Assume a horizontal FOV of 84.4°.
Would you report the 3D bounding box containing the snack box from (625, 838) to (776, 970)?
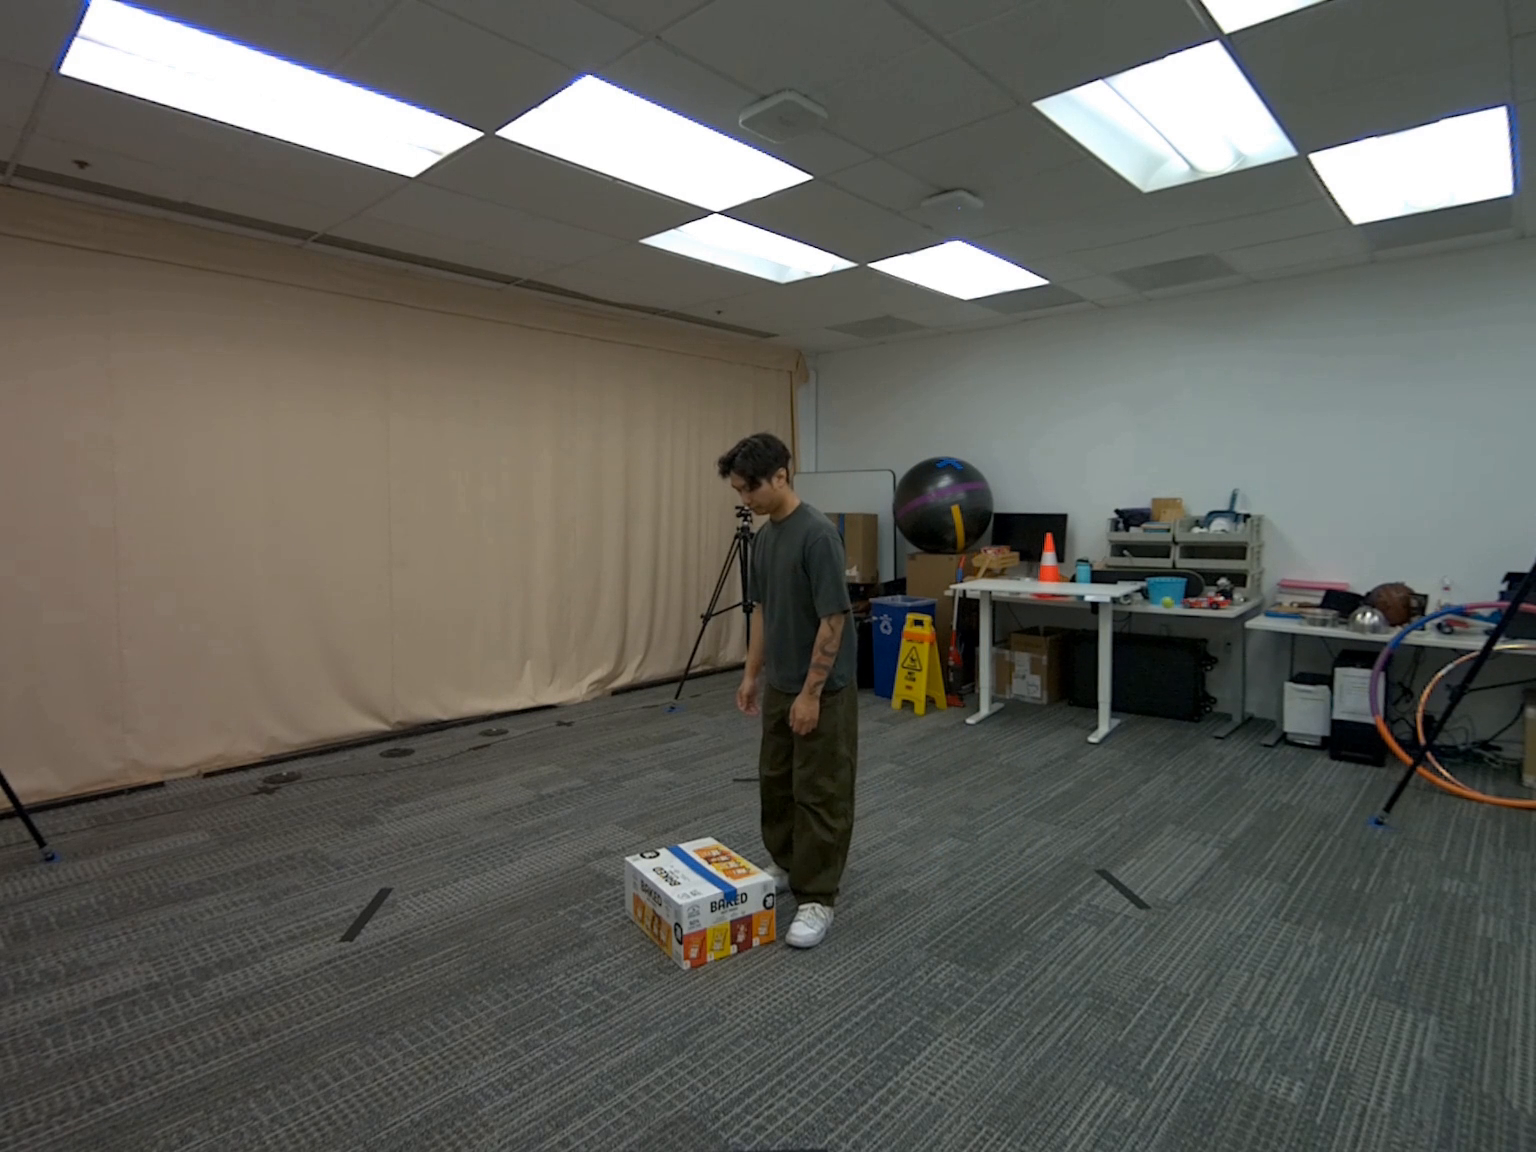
[{"bbox_3d":[-0.229,1.056,2.773,0.331,0.205,0.417,-3,5,-33],"label":"snack box"}]
